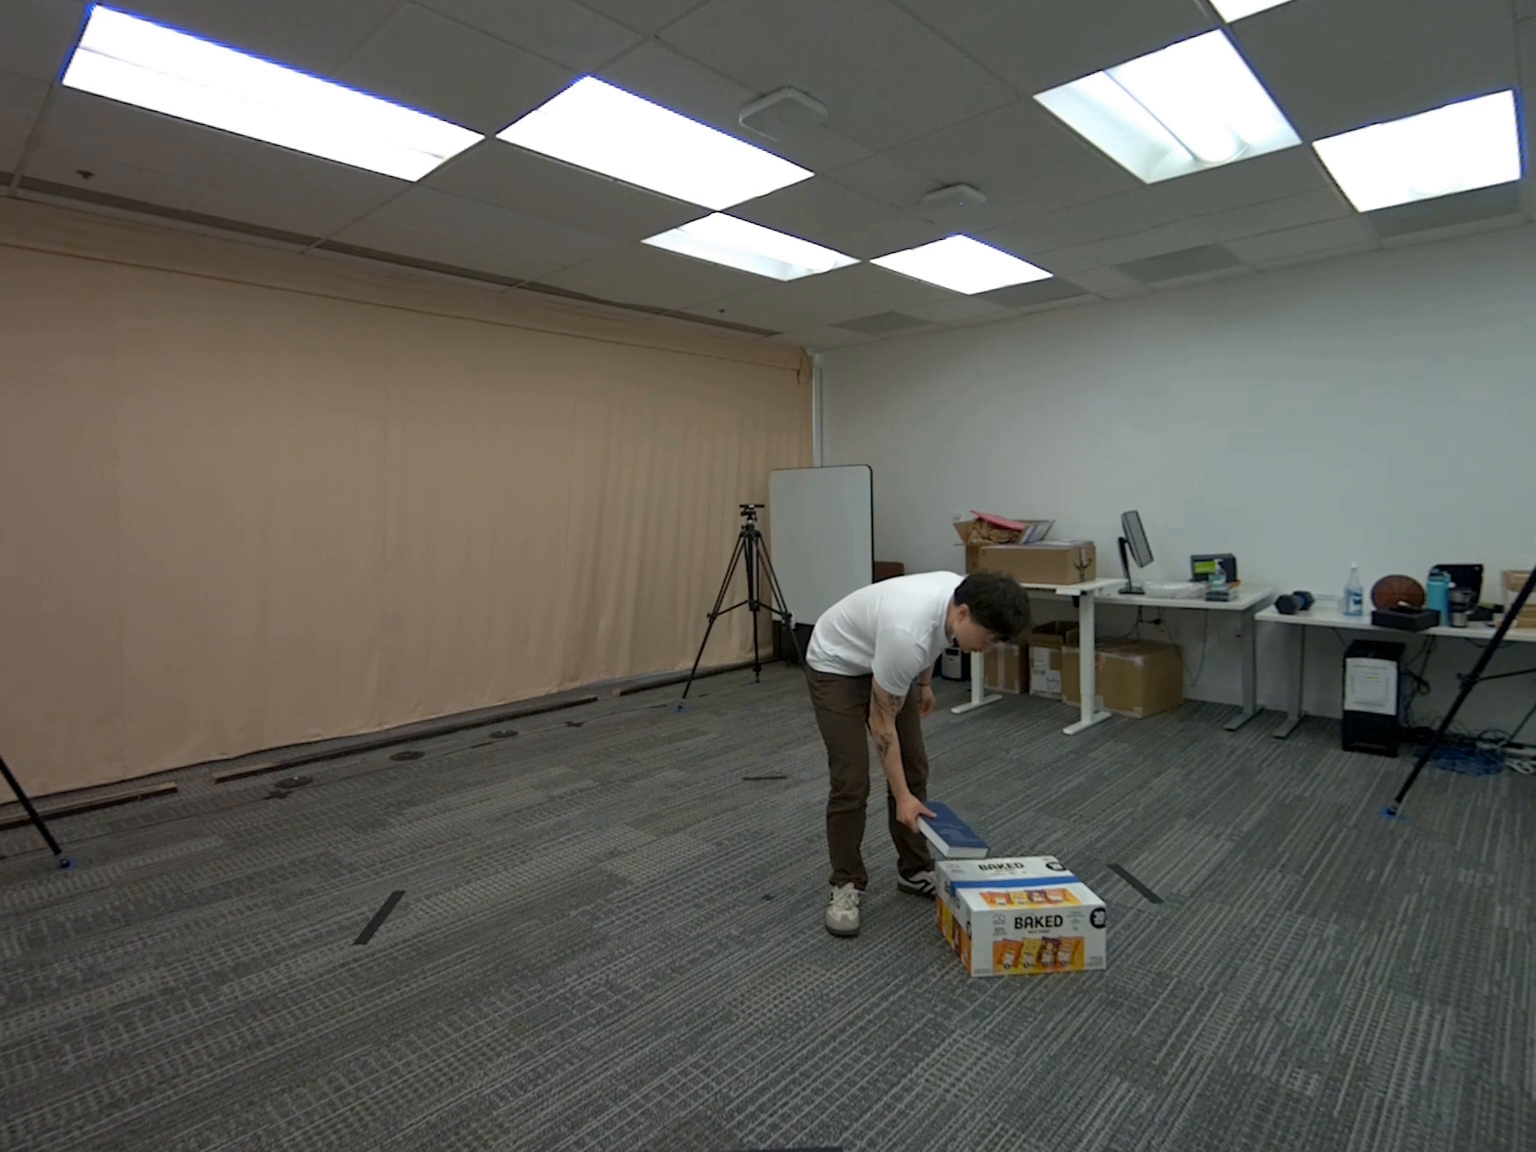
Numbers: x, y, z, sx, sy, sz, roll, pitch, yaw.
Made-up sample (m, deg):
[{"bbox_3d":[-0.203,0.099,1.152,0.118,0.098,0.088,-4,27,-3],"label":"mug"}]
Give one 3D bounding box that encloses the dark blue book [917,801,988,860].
[{"bbox_3d":[0.562,0.789,2.642,0.159,0.045,0.252,9,15,-24],"label":"dark blue book"}]
